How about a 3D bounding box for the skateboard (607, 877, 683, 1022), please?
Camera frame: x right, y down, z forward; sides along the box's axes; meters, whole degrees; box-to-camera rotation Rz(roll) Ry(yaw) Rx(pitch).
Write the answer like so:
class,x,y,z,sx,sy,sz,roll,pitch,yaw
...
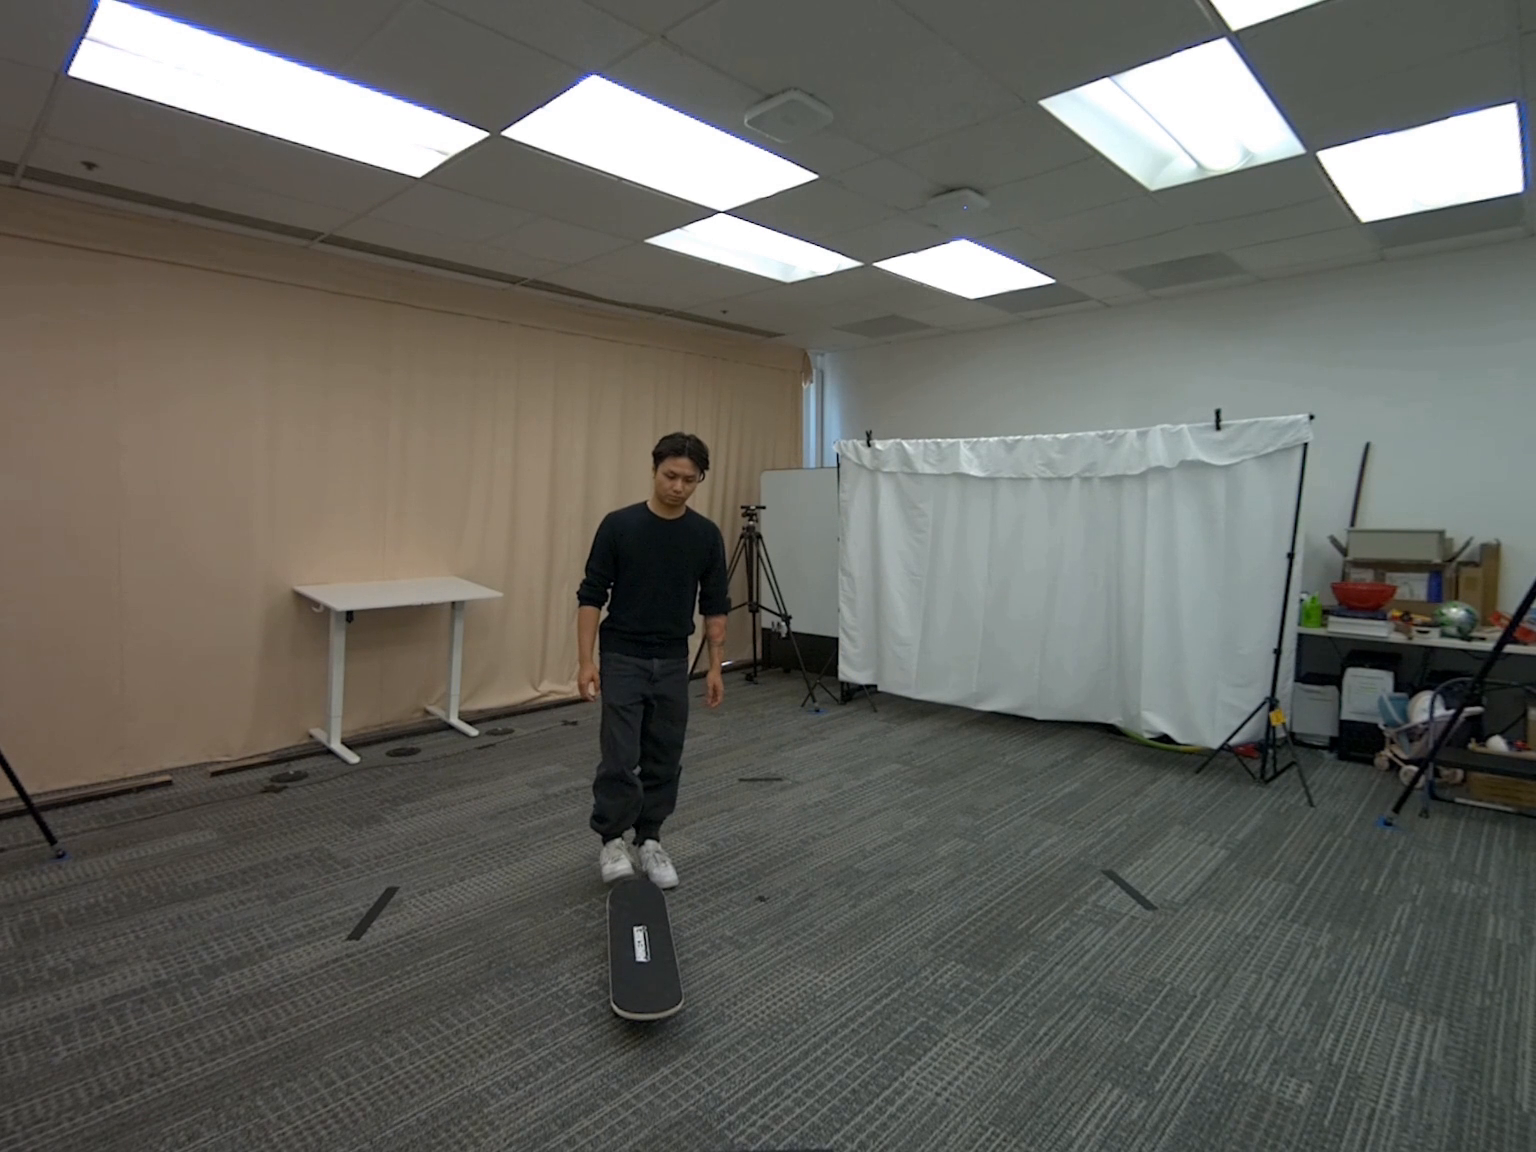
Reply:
class,x,y,z,sx,sy,sz,roll,pitch,yaw
skateboard,-0.378,1.126,2.516,0.191,0.110,0.796,0,4,-12
